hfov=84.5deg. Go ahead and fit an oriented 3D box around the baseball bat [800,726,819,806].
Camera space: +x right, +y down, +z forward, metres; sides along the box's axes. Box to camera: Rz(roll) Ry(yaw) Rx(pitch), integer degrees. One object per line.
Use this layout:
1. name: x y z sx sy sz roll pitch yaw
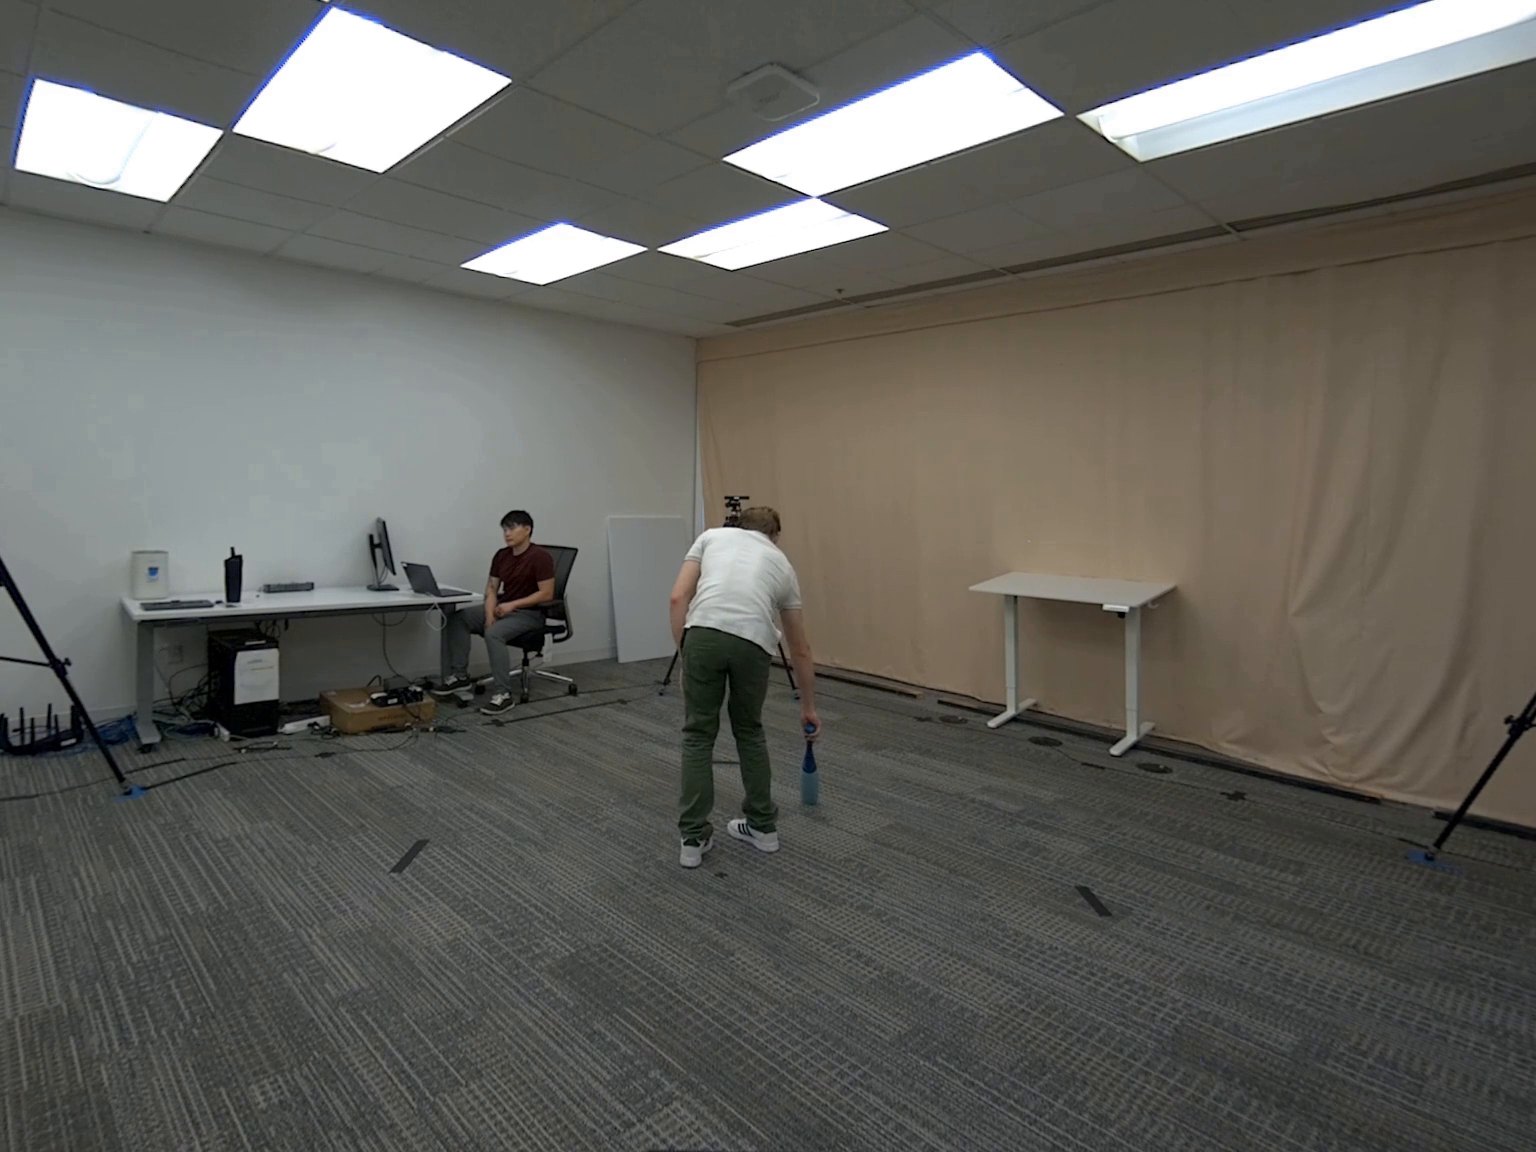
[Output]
1. baseball bat: 0.168 0.833 3.713 0.089 0.531 0.091 -1 42 0
